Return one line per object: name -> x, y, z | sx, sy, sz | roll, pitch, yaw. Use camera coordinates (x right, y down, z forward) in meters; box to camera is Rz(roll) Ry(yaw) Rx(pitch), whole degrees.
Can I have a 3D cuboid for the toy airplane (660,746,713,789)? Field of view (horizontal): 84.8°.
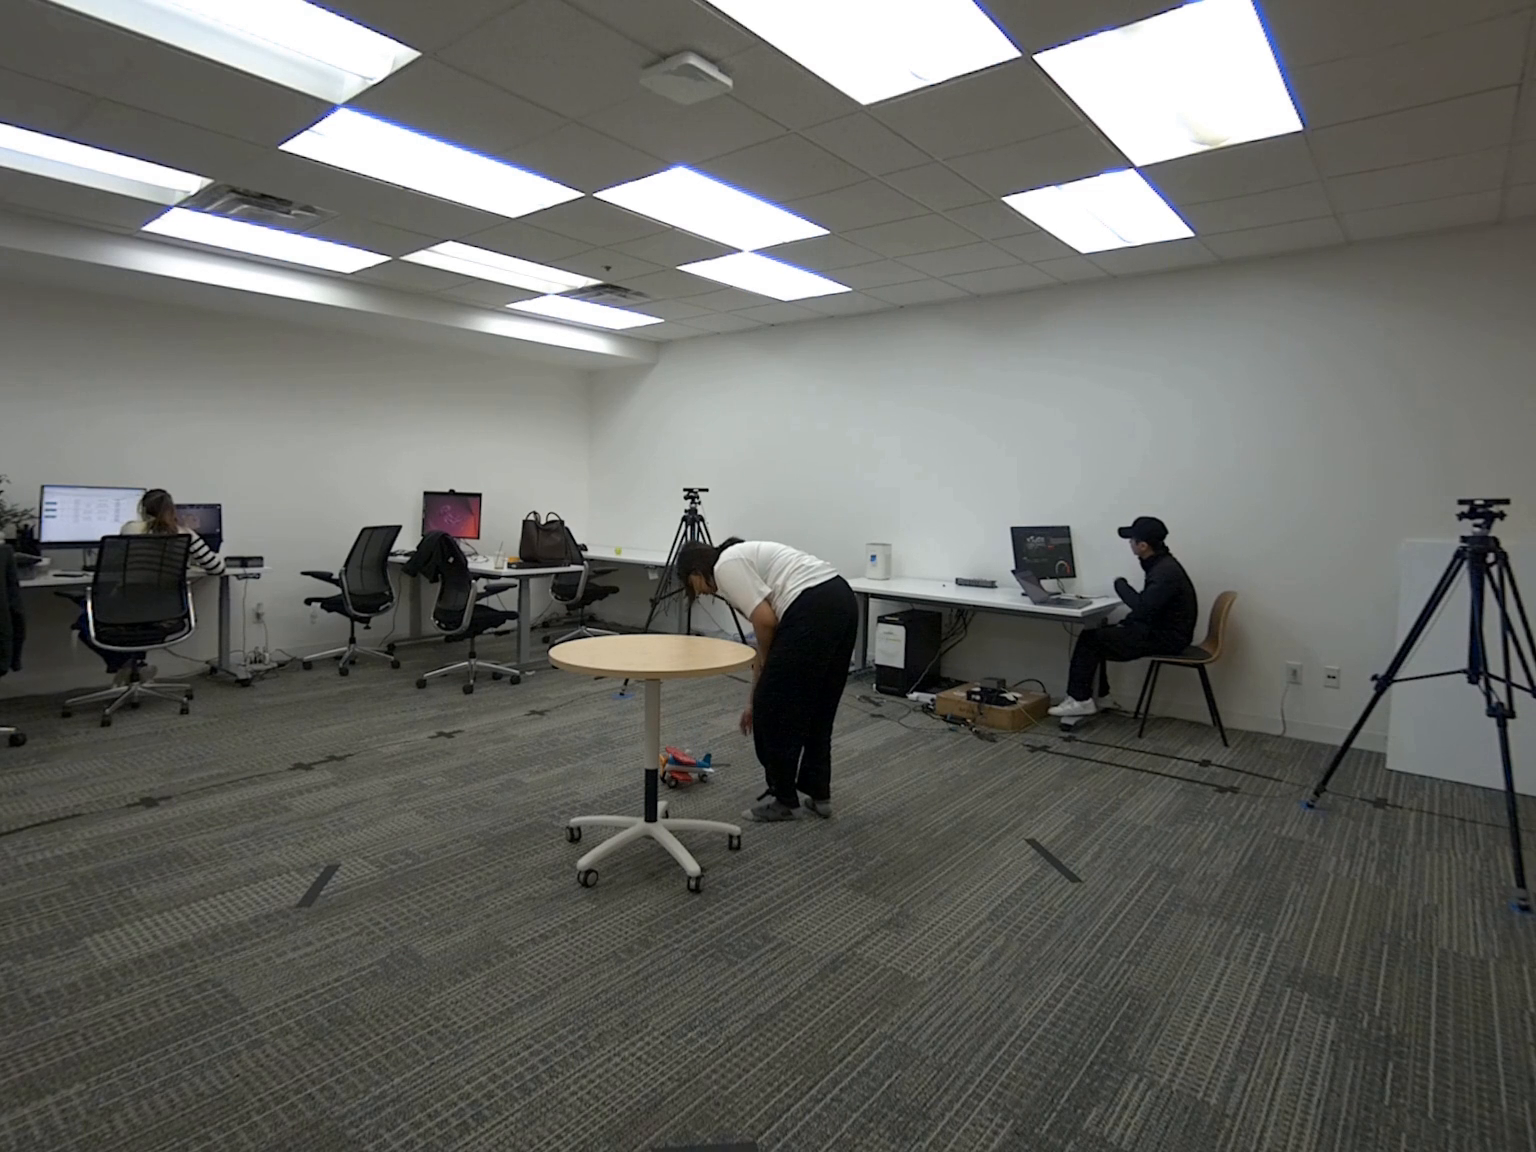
toy airplane -> -0.413, 0.906, 4.048 | 0.259, 0.156, 0.252 | 3, 5, 36
